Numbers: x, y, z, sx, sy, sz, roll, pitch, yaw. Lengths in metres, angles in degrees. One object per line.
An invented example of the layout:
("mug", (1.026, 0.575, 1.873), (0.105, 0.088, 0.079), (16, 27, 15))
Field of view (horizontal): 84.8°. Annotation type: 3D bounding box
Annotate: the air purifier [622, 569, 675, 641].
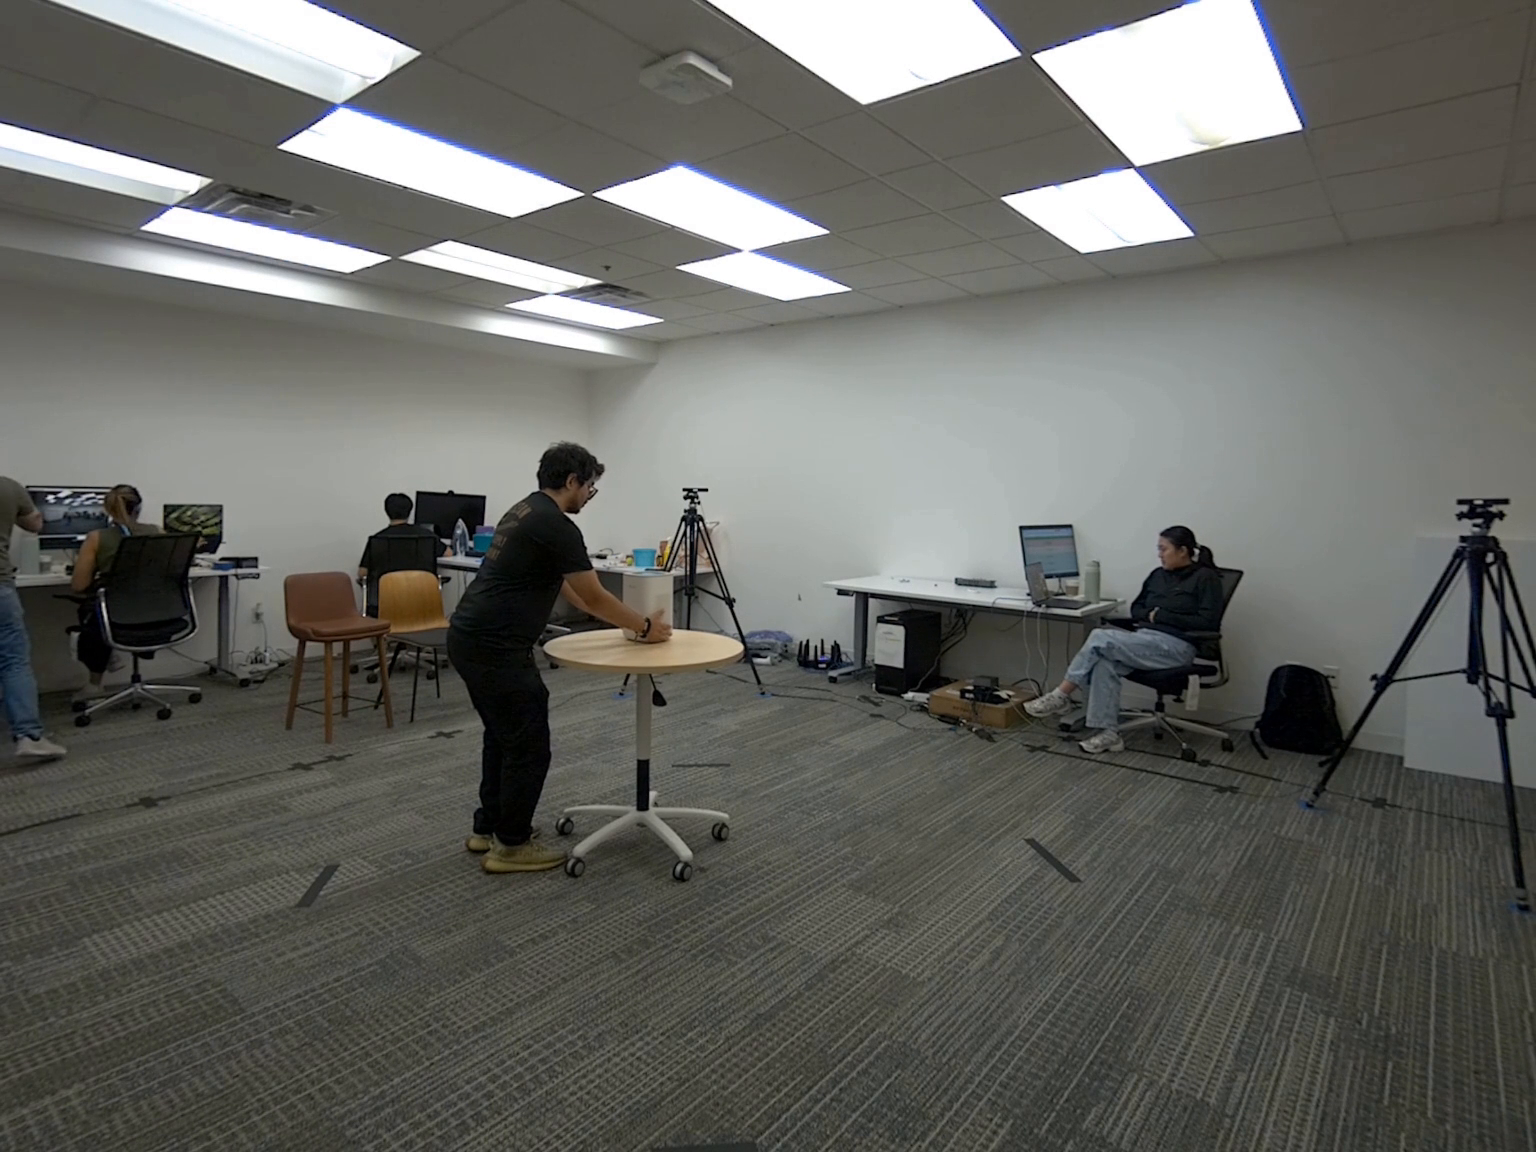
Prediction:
("air purifier", (-0.496, 0.117, 3.408), (0.176, 0.265, 0.167), (3, 3, 32))
